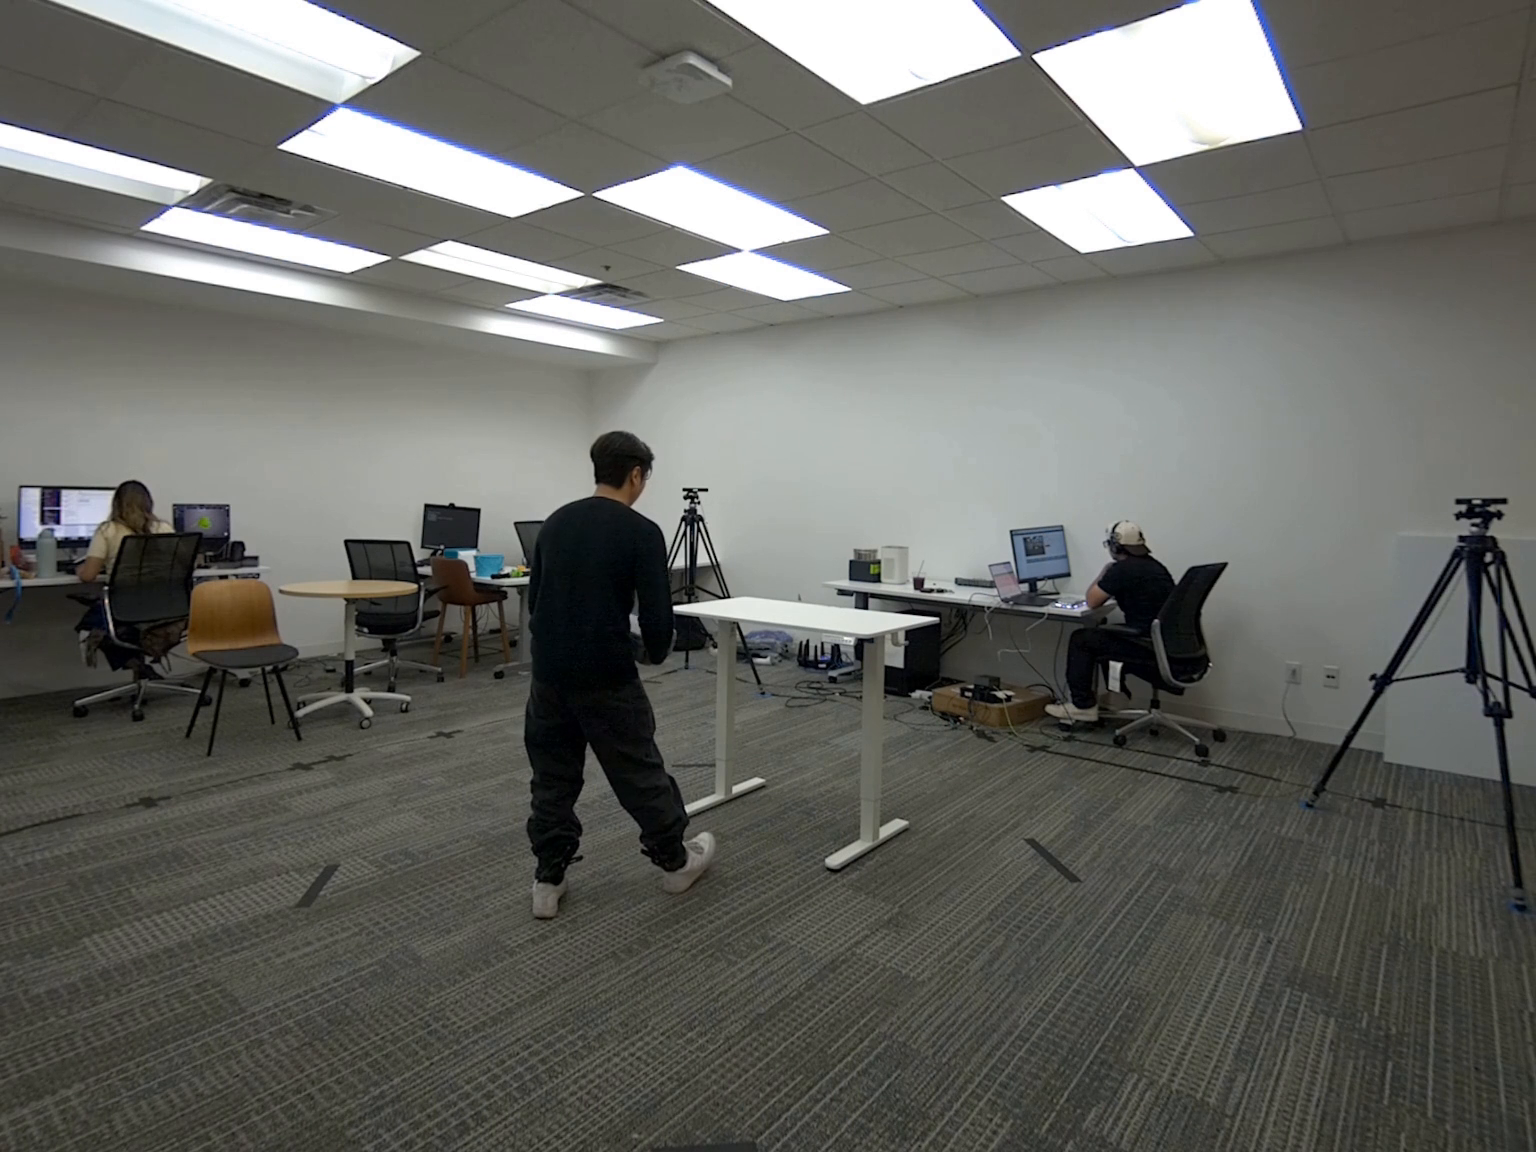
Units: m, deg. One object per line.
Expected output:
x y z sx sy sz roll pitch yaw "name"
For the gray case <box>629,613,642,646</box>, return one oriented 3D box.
-0.497 0.214 3.076 0.270 0.104 0.249 15 7 33 "gray case"
